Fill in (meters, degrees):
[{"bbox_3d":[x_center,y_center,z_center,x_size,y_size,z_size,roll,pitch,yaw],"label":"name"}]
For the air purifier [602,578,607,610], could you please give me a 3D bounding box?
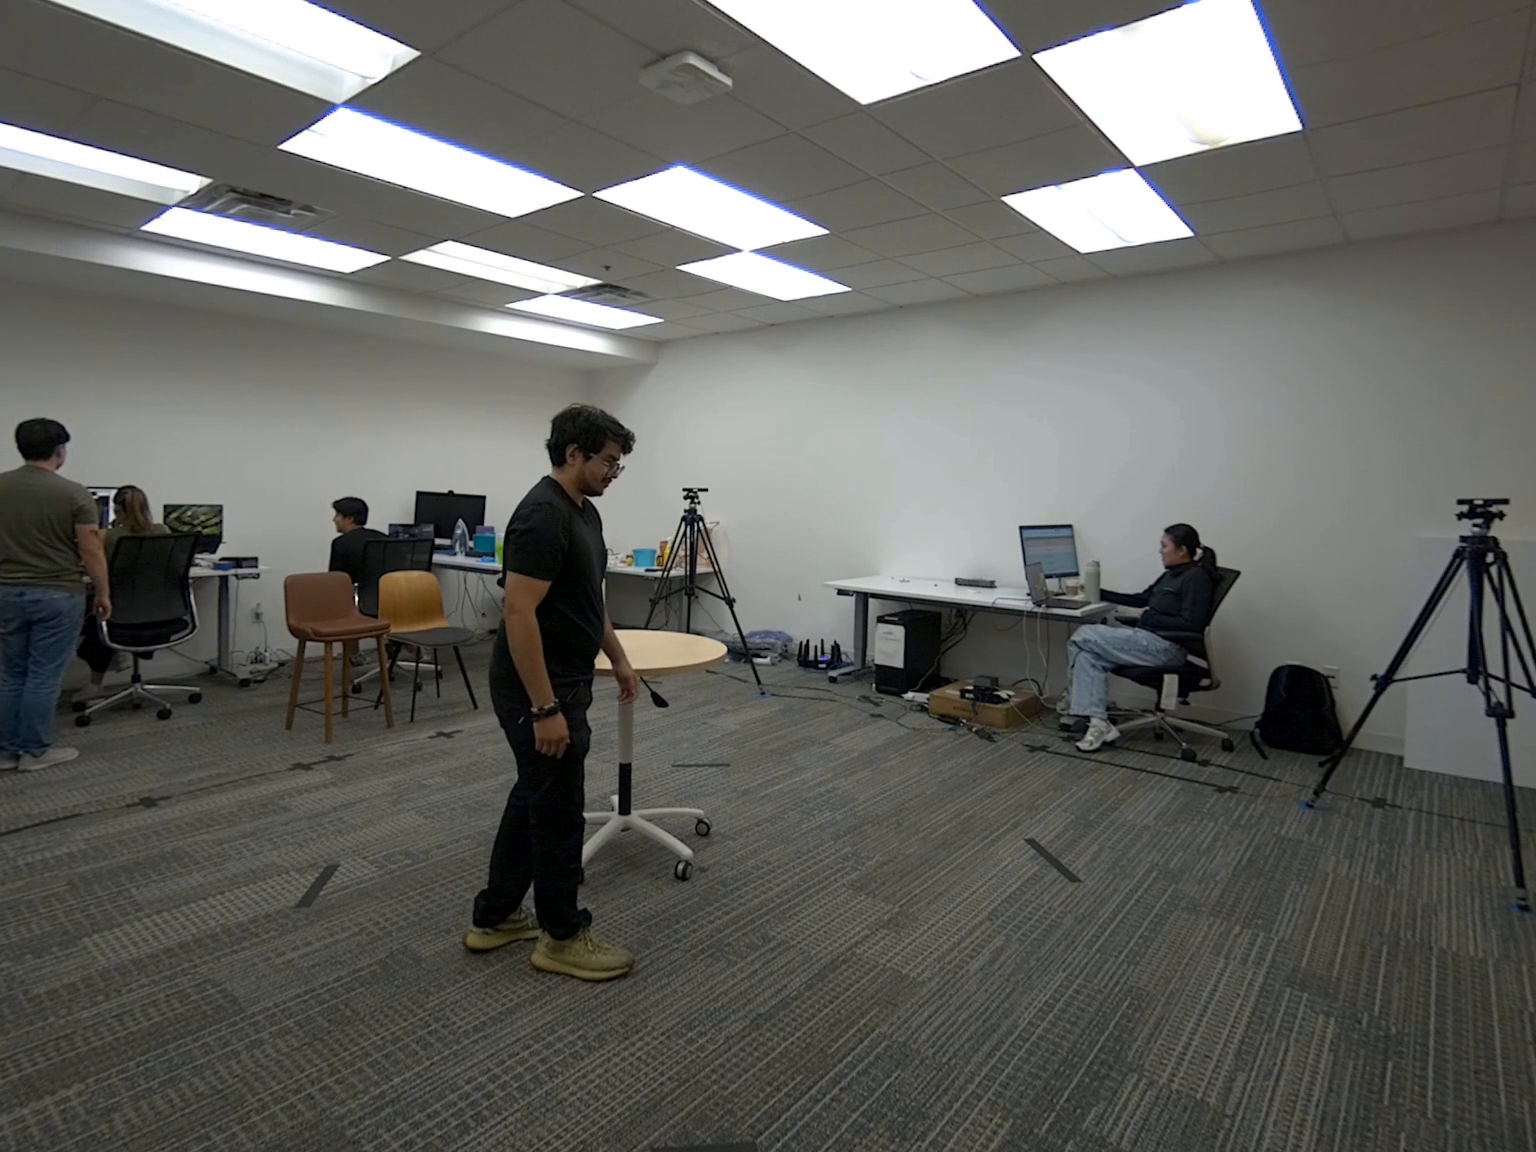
[{"bbox_3d":[-0.697,0.143,3.124,0.171,0.264,0.172,0,4,2],"label":"air purifier"}]
